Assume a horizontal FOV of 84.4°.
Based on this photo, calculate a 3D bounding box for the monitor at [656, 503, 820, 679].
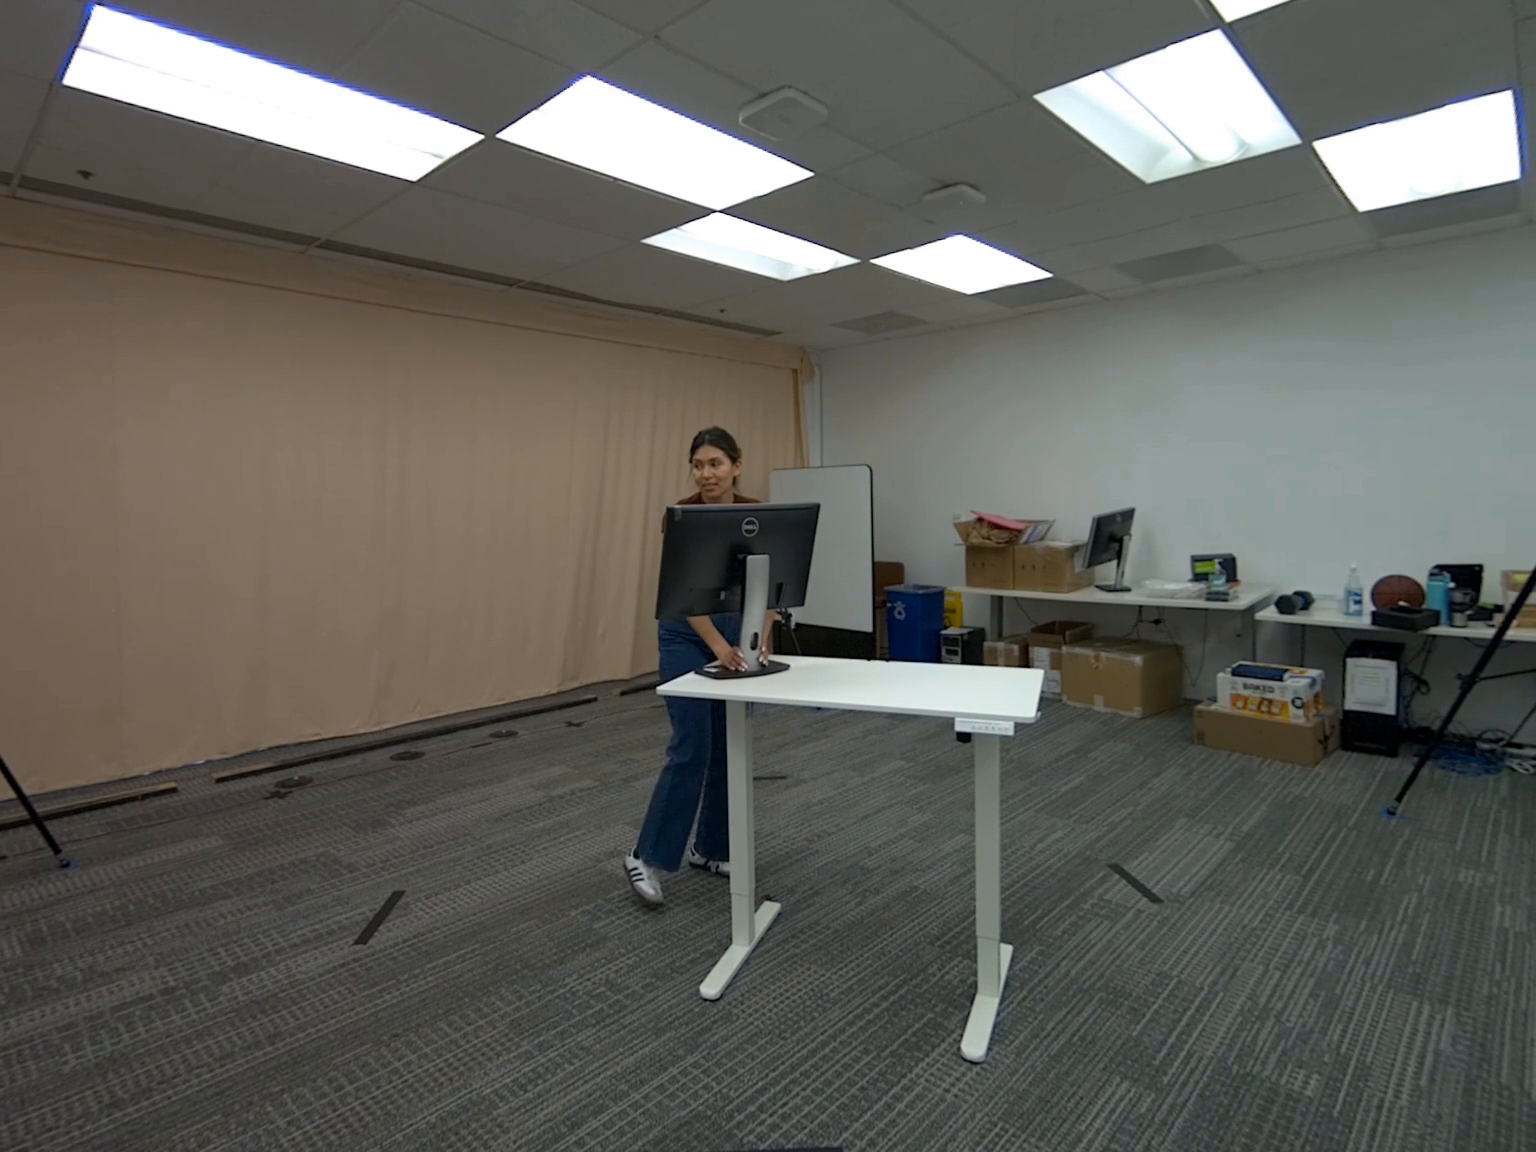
[{"bbox_3d":[-0.072,0.042,2.571,0.524,0.521,0.193,-3,7,-32],"label":"monitor"}]
